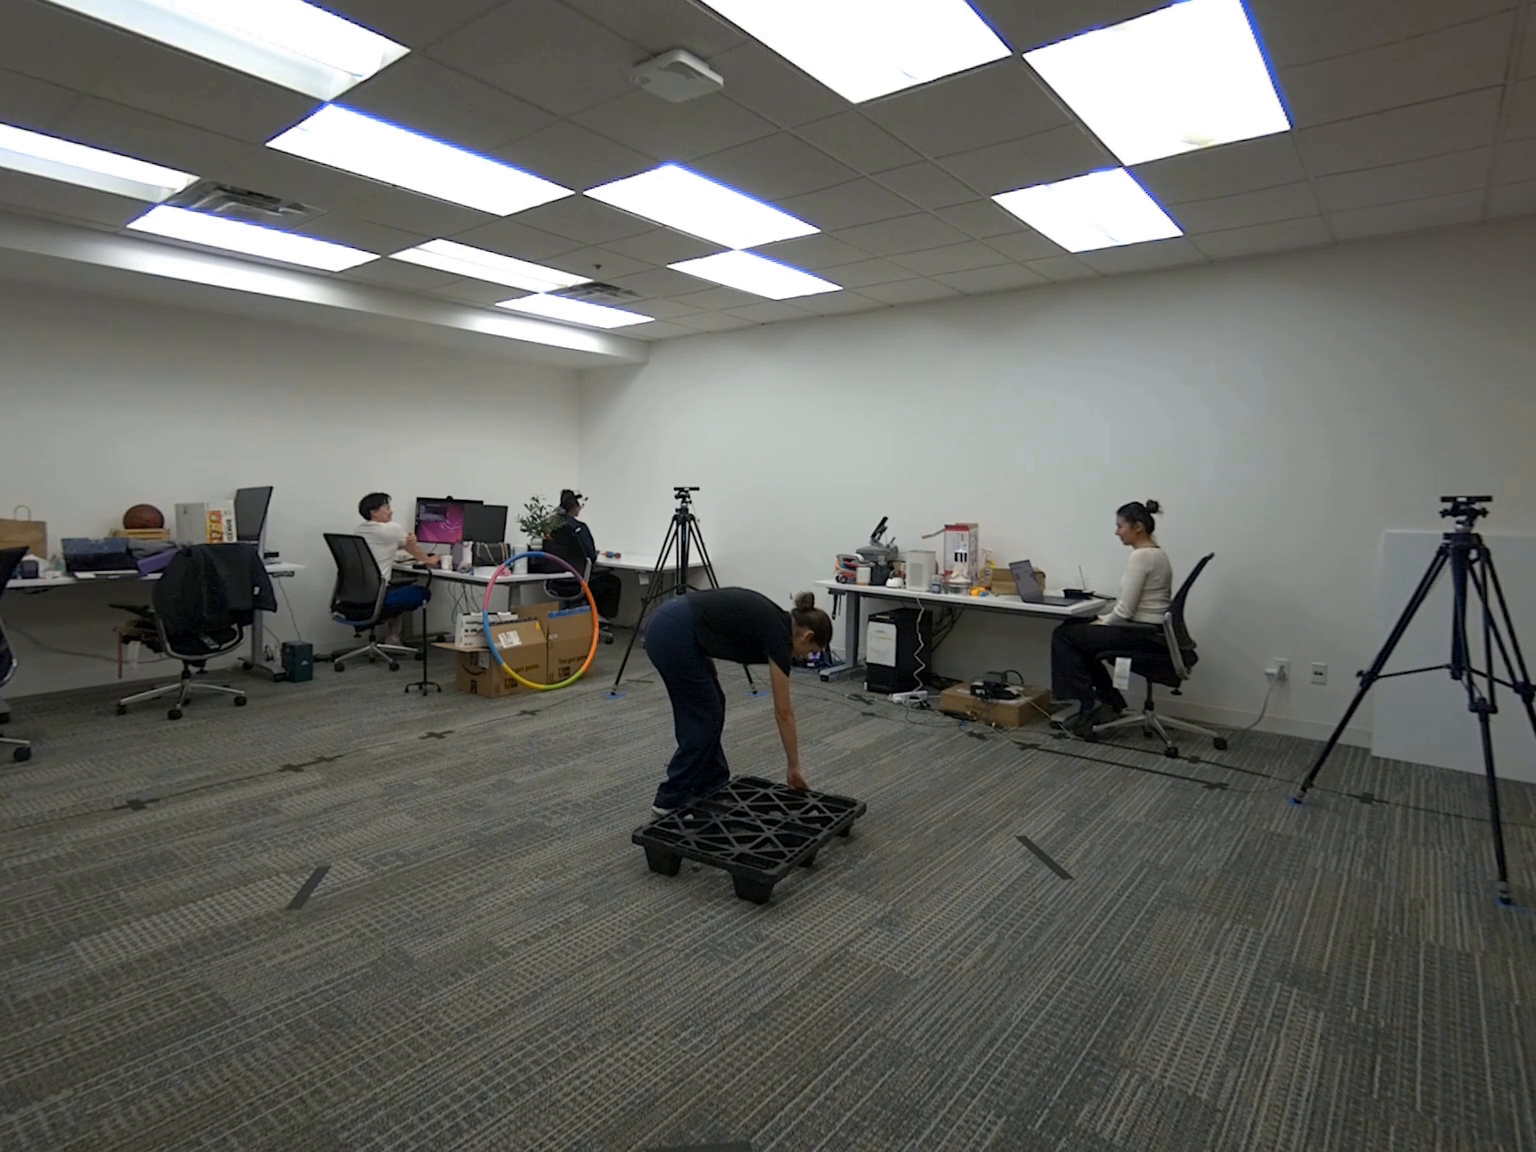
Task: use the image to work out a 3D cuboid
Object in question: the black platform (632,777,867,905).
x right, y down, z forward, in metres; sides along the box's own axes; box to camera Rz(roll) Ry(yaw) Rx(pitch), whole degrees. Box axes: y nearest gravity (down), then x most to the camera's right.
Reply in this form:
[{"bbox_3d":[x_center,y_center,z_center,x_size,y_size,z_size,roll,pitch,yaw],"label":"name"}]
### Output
[{"bbox_3d":[-0.037,0.985,3.273,0.623,0.143,0.784,4,6,31],"label":"black platform"}]
